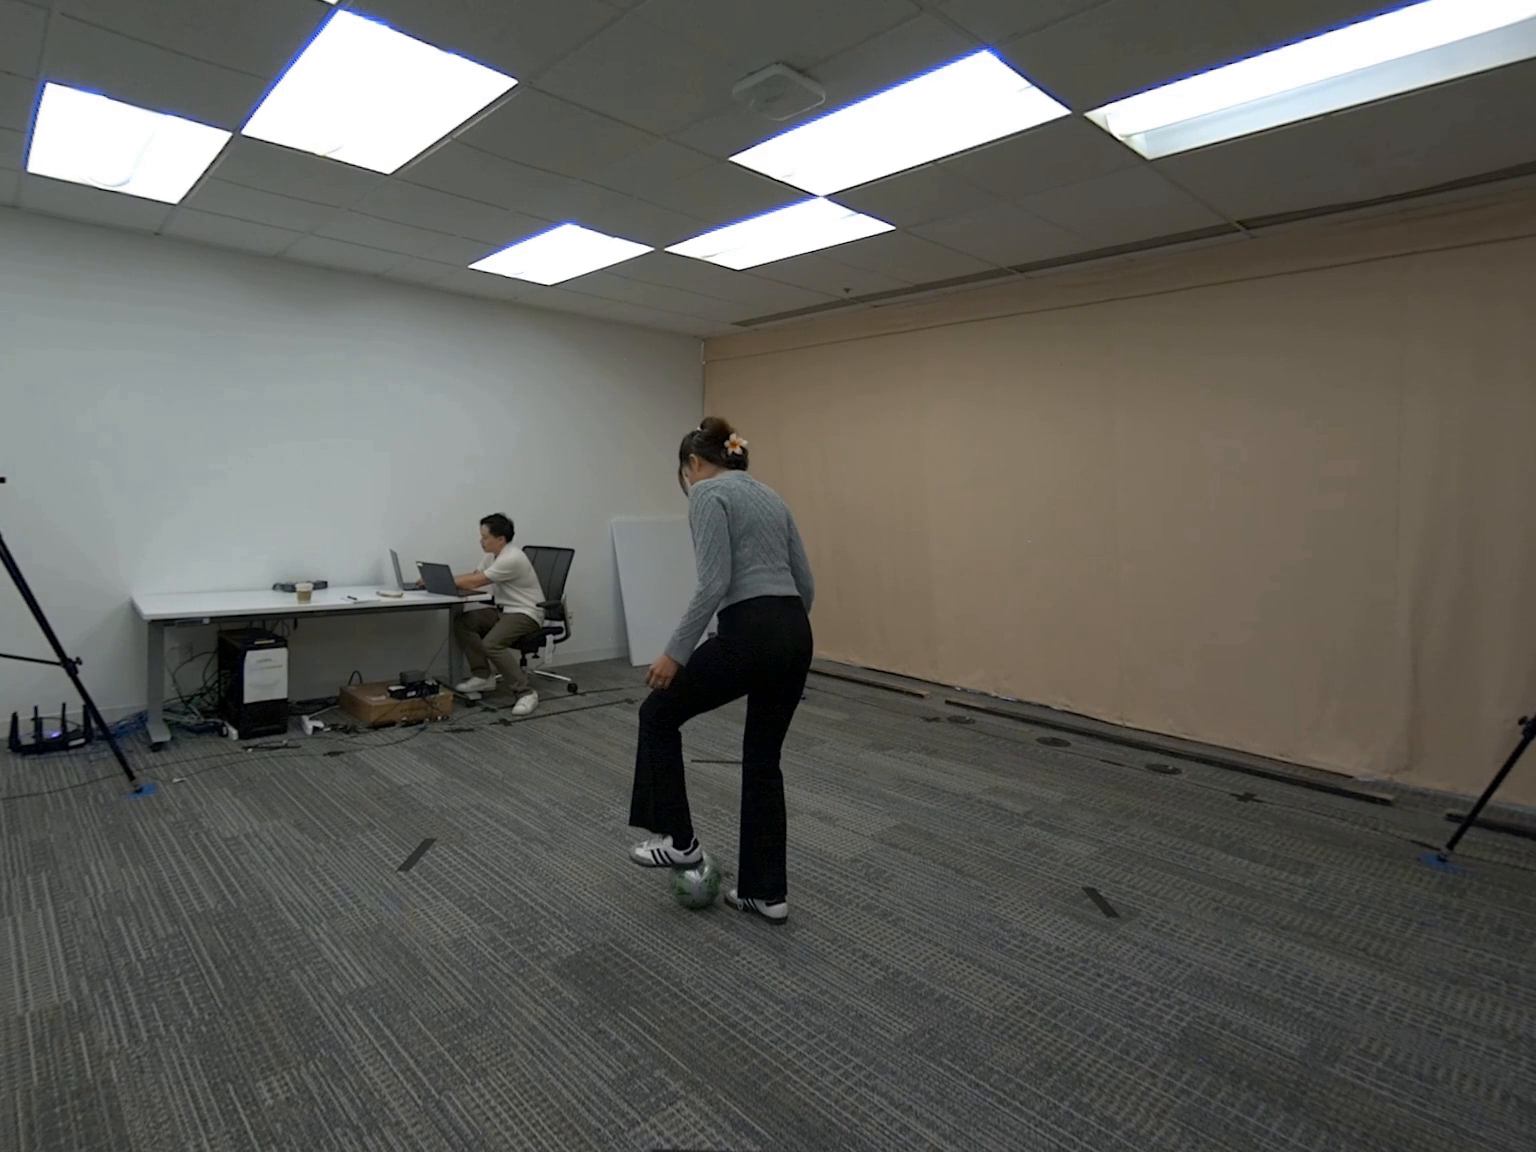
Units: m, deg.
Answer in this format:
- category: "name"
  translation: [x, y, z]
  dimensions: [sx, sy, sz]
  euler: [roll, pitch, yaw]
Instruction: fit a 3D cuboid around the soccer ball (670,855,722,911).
- category: "soccer ball"
  translation: [-0.251, 1.021, 2.864]
  dimensions: [0.187, 0.187, 0.188]
  euler: [1, 4, -1]
